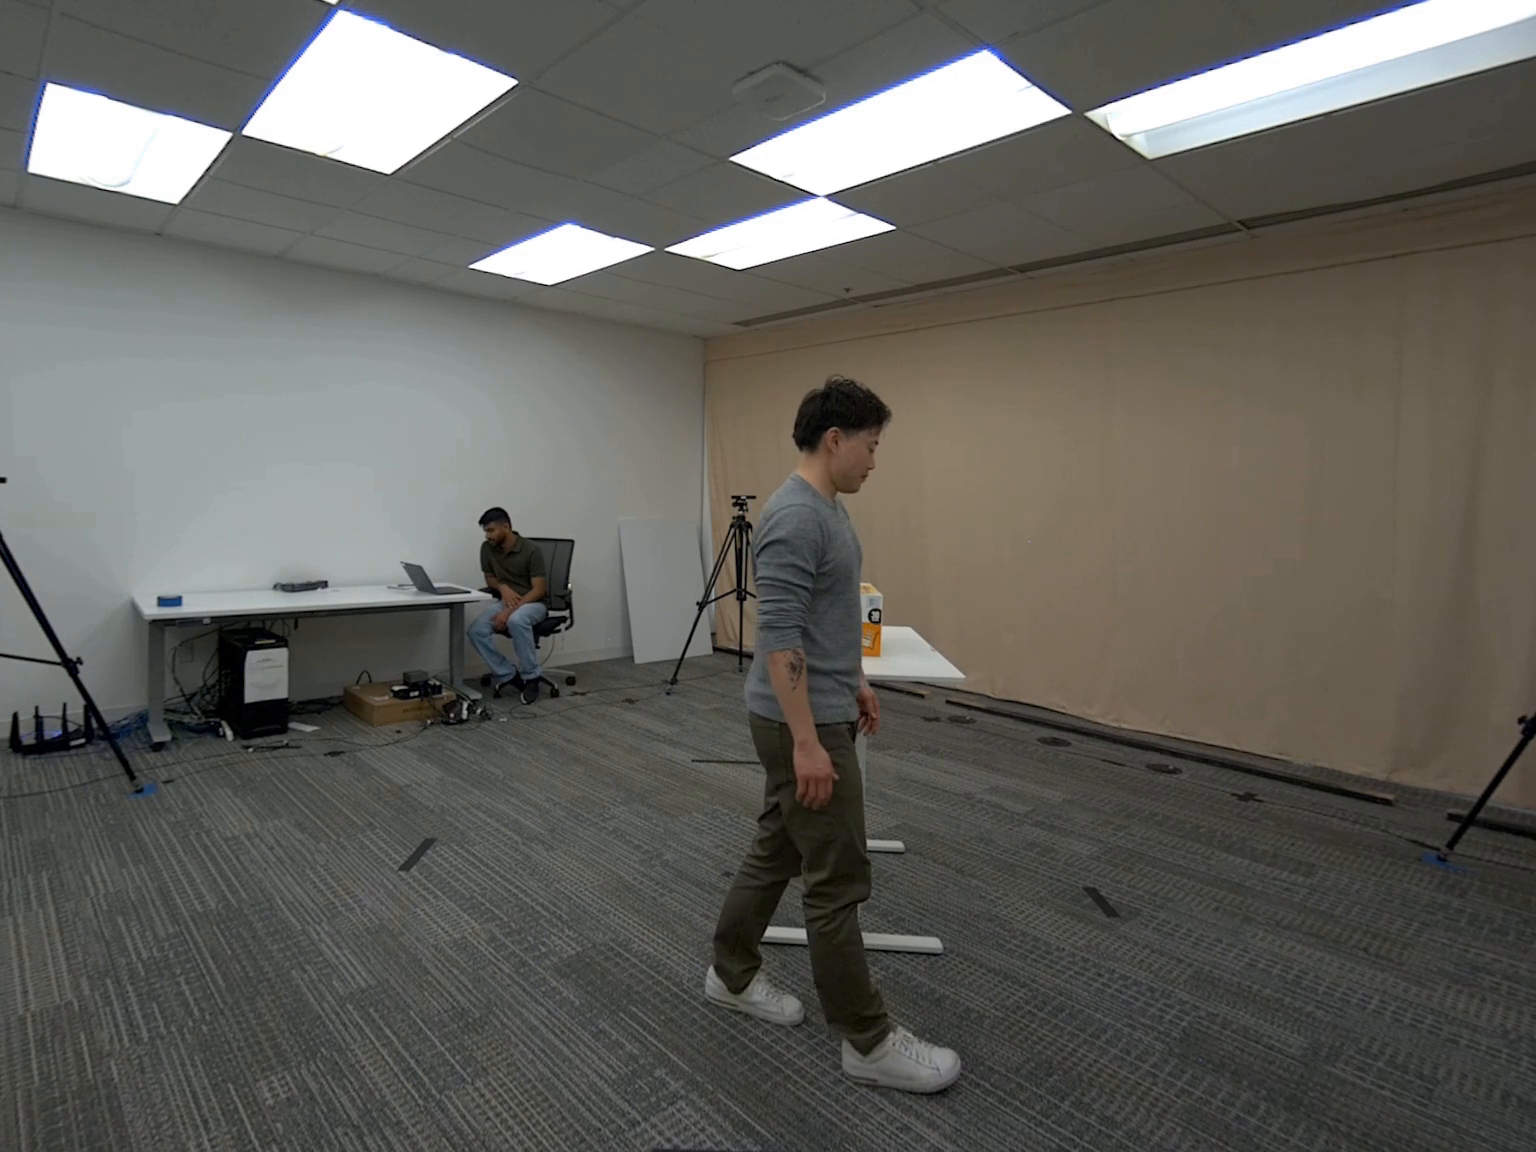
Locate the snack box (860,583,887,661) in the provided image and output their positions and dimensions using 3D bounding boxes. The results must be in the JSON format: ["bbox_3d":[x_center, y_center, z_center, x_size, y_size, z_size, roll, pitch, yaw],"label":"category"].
[{"bbox_3d":[0.211,0.144,2.948,0.341,0.205,0.405,2,5,2],"label":"snack box"}]
